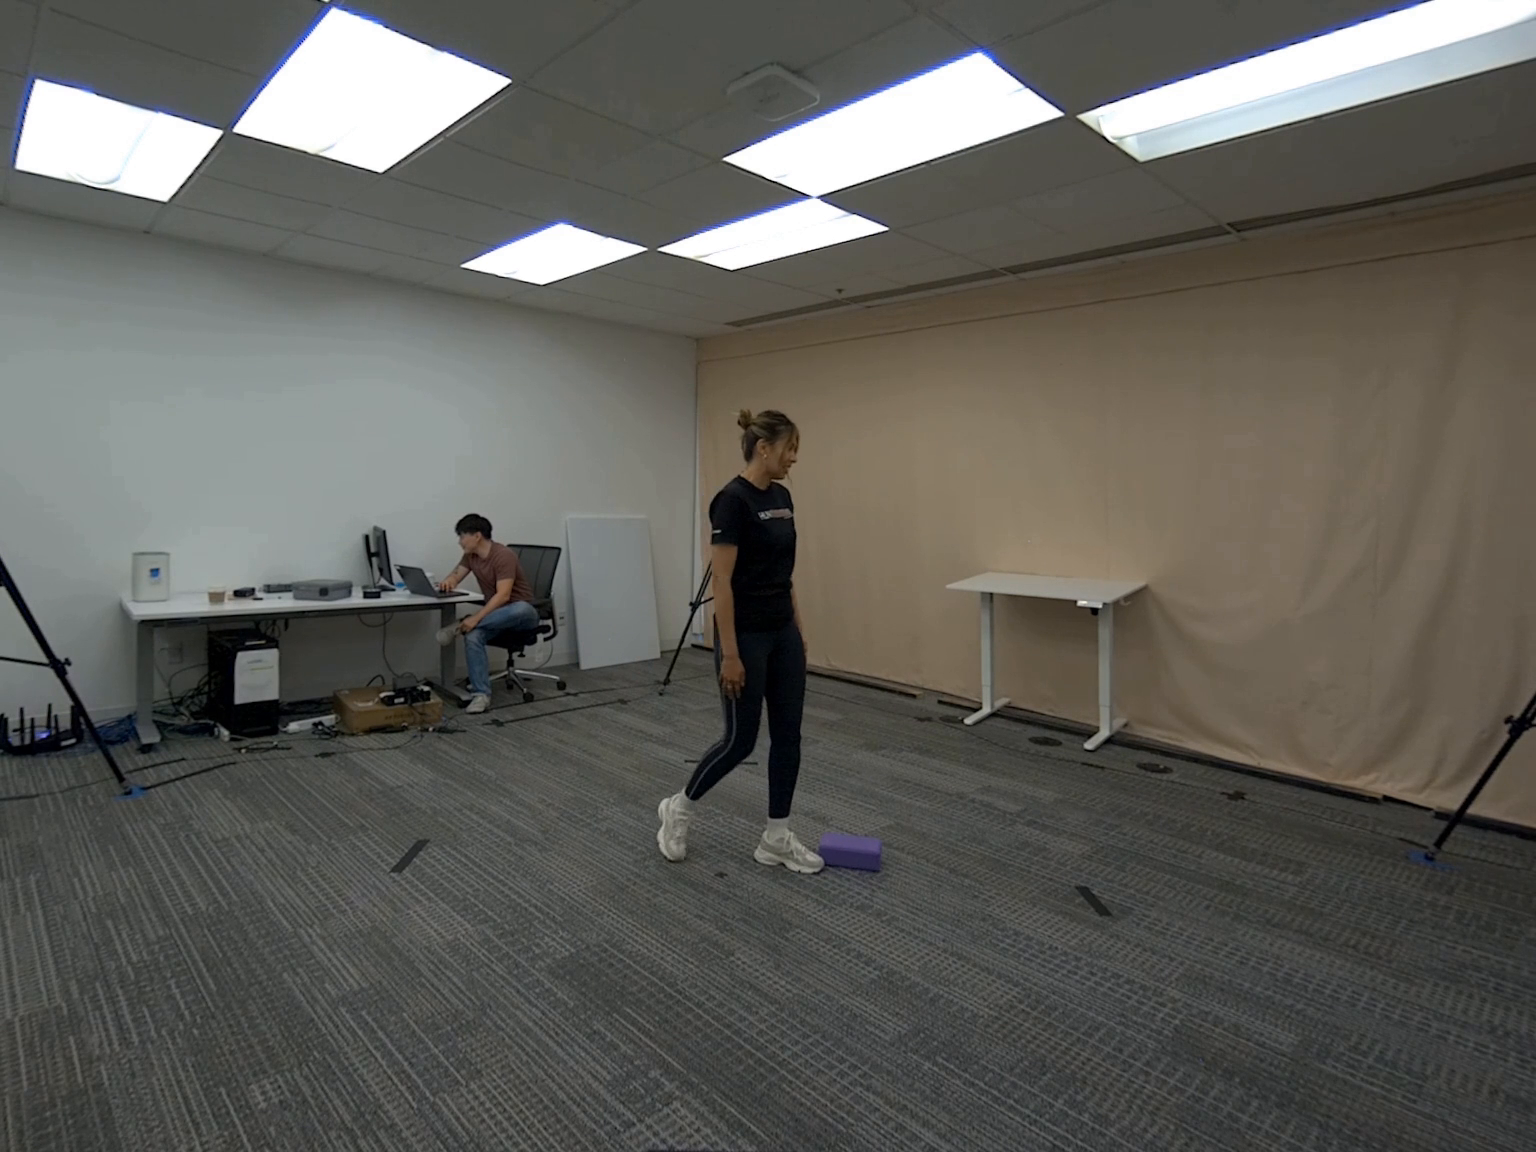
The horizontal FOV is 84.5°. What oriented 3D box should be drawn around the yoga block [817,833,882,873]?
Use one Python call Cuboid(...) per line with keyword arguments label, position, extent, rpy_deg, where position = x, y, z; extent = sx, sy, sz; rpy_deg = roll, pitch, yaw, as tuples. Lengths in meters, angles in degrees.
Cuboid(label="yoga block", position=(0.306, 1.061, 3.248), extent=(0.232, 0.076, 0.148), rpy_deg=(3, 5, 12))
